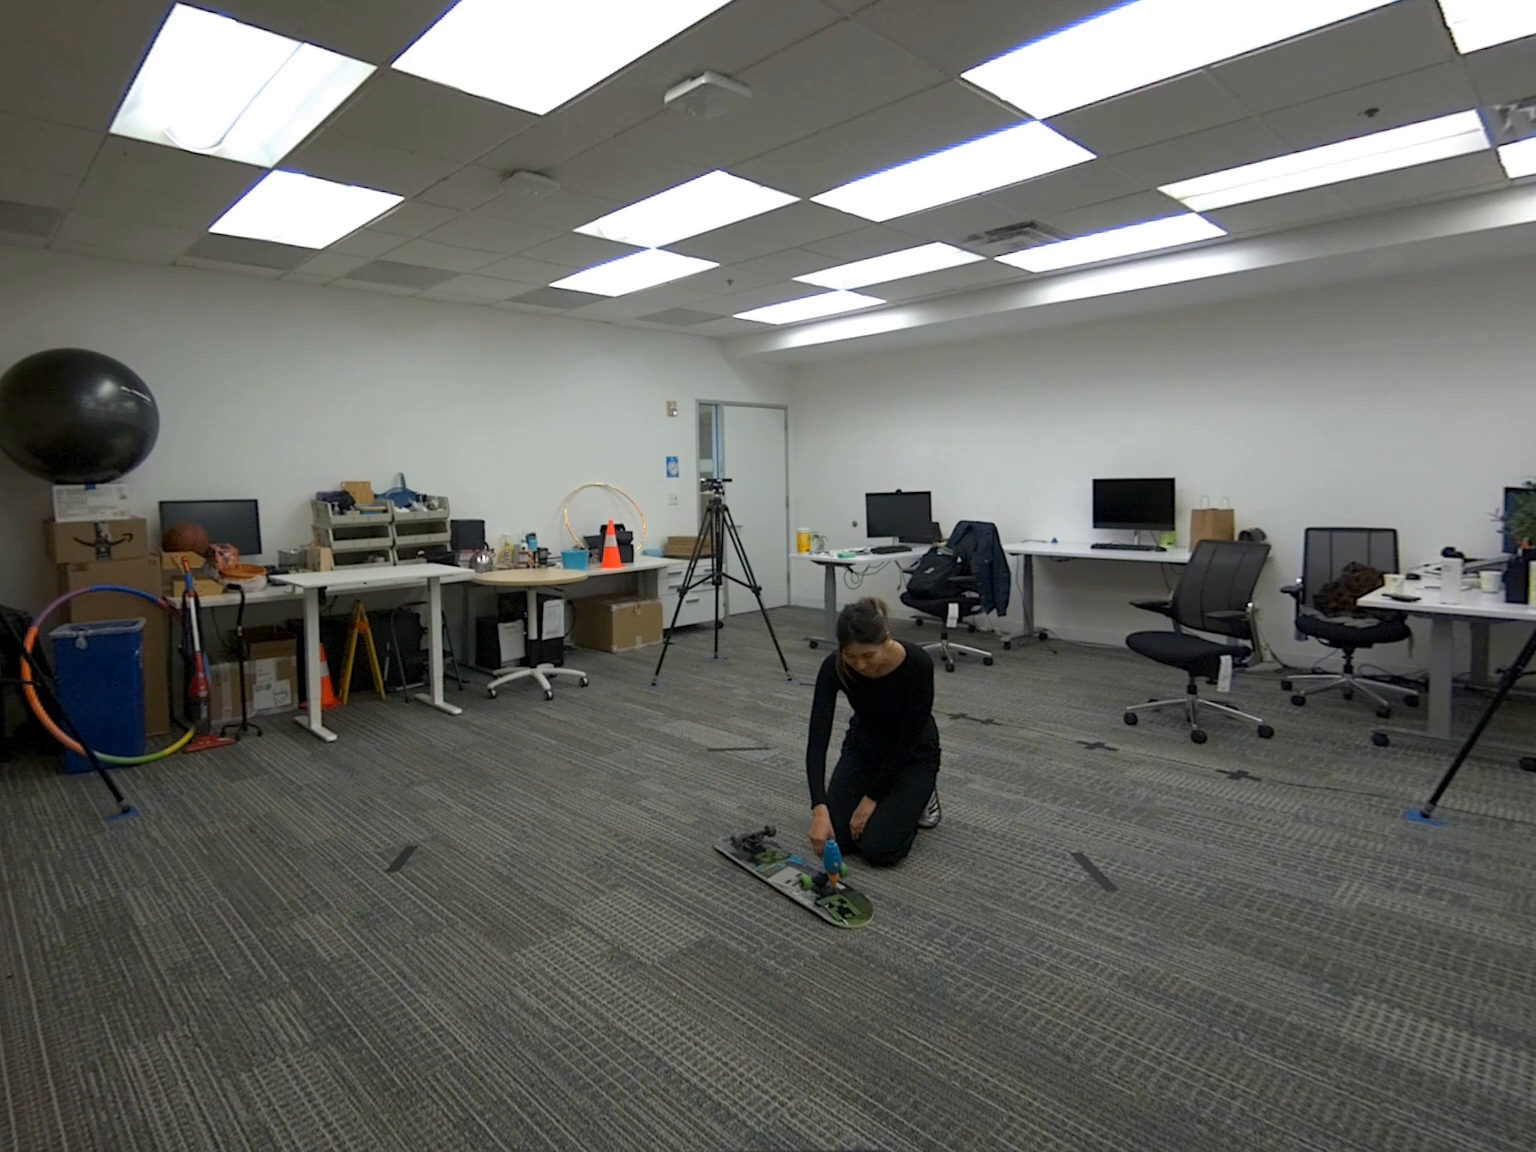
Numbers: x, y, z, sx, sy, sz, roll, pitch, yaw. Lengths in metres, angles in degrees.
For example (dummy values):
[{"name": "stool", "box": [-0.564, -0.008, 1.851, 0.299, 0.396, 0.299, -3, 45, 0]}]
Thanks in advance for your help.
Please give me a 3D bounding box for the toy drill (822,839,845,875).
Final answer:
[{"name": "toy drill", "box": [0.202, 0.938, 2.838, 0.061, 0.167, 0.149, -17, 14, -6]}]
